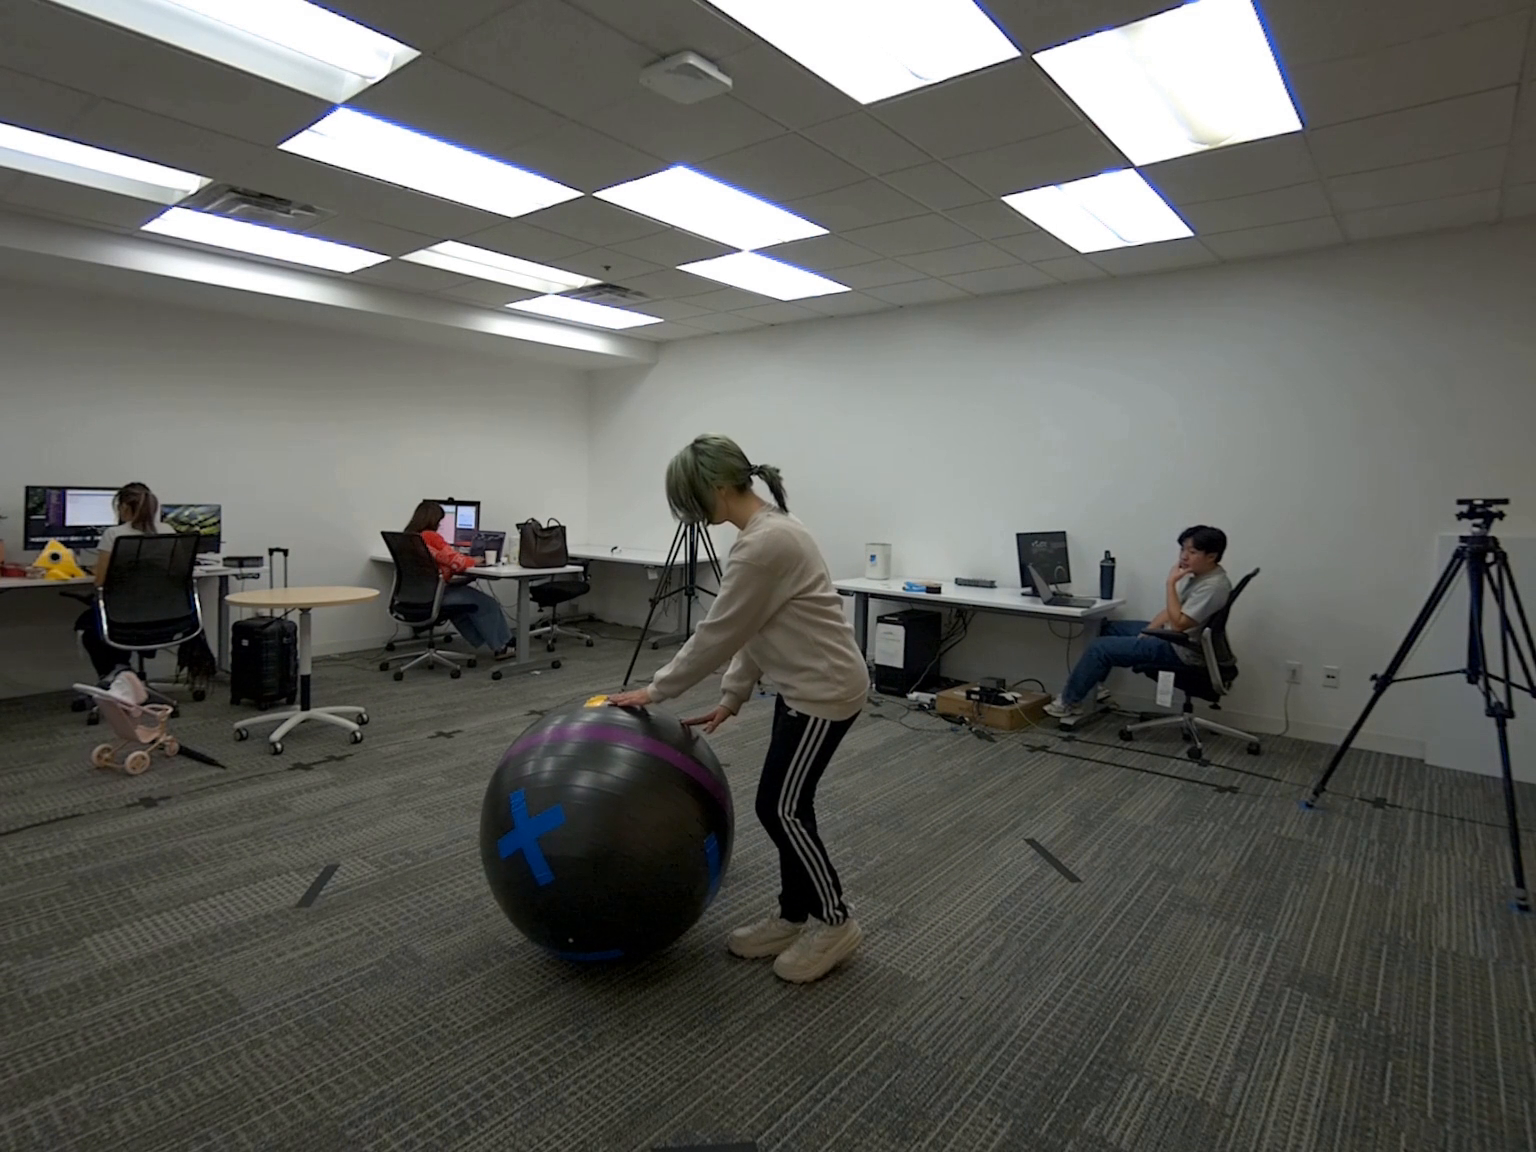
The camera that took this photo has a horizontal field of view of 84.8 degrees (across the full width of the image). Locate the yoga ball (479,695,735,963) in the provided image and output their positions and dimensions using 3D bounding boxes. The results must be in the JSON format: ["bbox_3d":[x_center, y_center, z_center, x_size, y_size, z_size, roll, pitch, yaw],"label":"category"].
[{"bbox_3d":[-0.497,0.753,2.558,0.757,0.755,0.762,1,4,-2],"label":"yoga ball"}]
